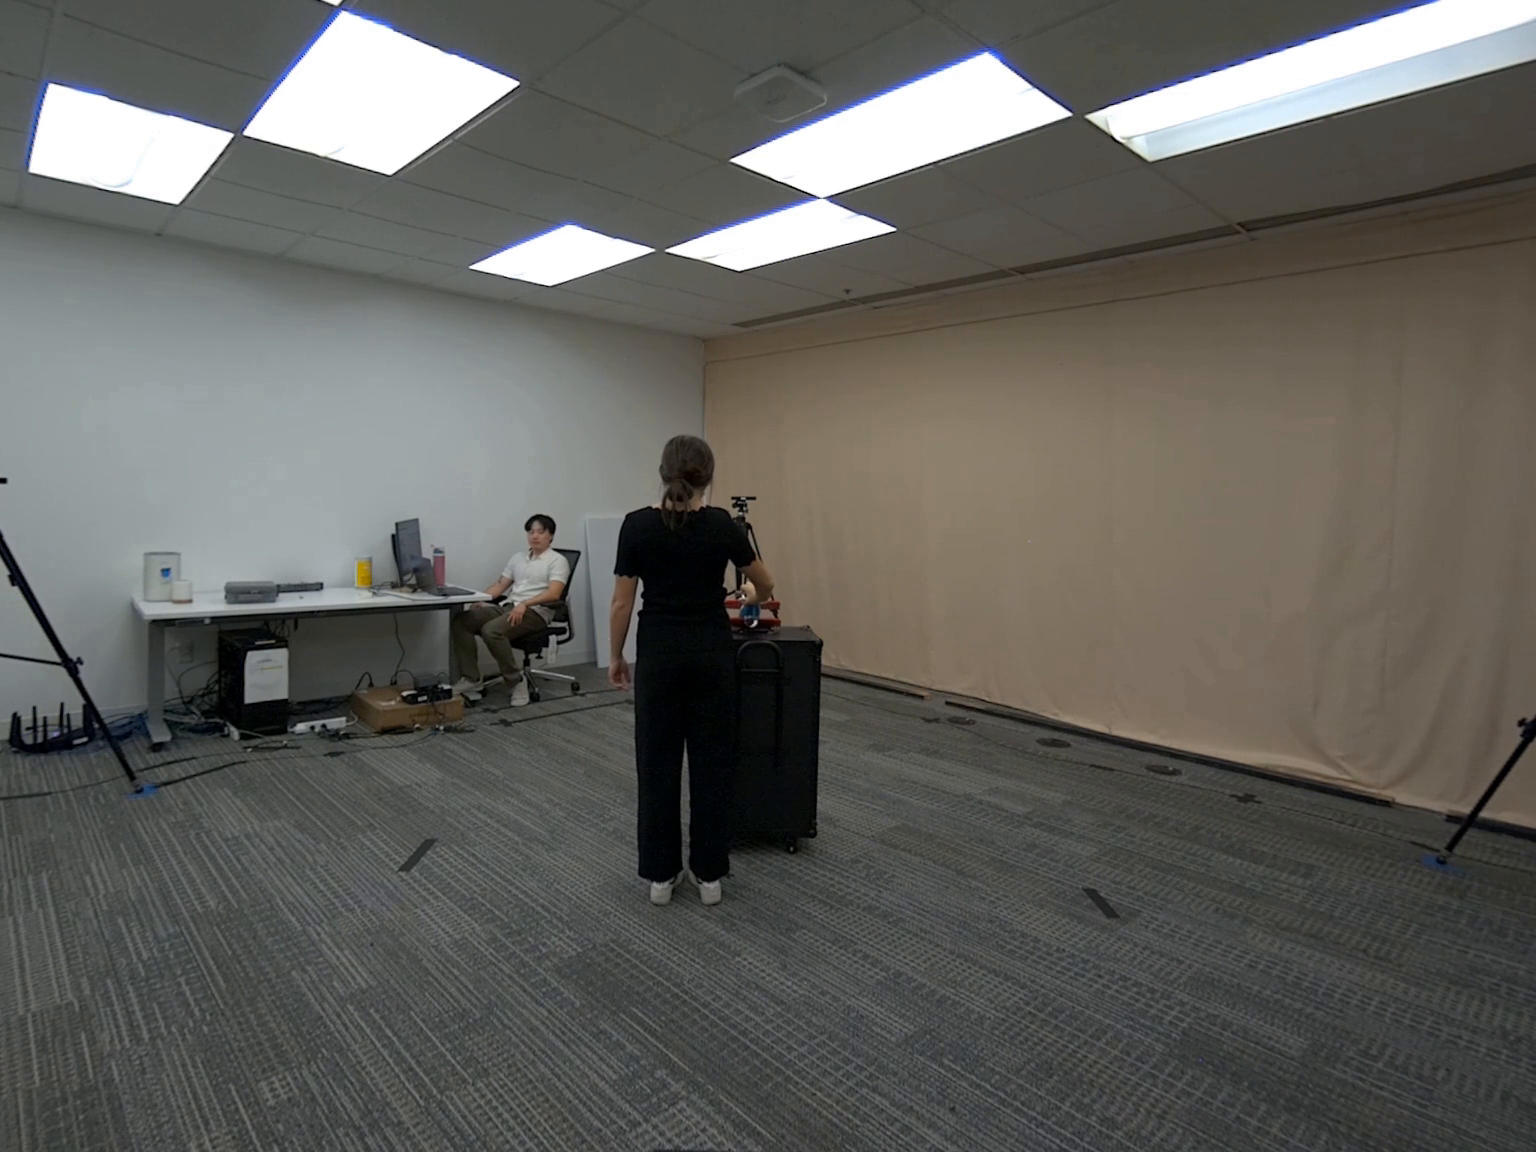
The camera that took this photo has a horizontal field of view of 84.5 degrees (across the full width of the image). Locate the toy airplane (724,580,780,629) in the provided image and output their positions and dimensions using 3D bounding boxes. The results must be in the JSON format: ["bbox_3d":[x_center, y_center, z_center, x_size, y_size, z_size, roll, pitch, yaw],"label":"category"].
[{"bbox_3d":[-0.103,0.127,3.439,0.255,0.157,0.253,-4,-8,21],"label":"toy airplane"}]
